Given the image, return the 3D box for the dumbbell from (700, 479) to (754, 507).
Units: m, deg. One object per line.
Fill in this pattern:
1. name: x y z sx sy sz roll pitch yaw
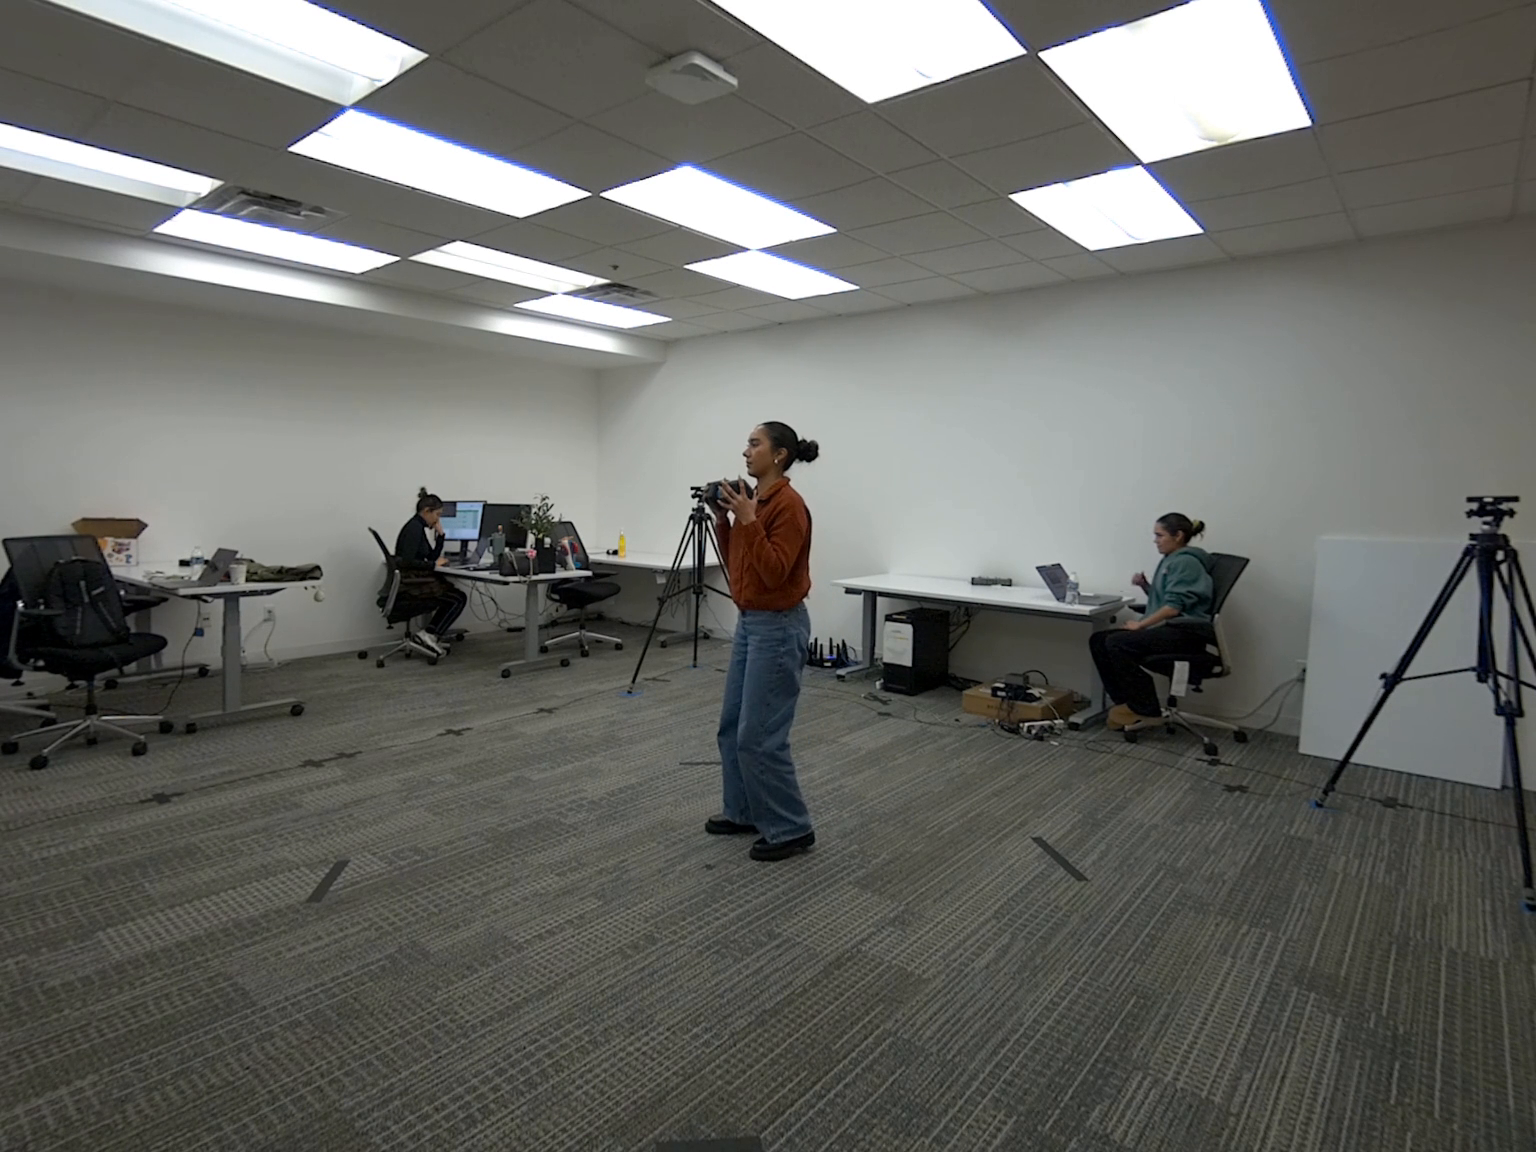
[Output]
1. dumbbell: -0.151 -0.306 3.251 0.106 0.123 0.298 25 -10 -16
